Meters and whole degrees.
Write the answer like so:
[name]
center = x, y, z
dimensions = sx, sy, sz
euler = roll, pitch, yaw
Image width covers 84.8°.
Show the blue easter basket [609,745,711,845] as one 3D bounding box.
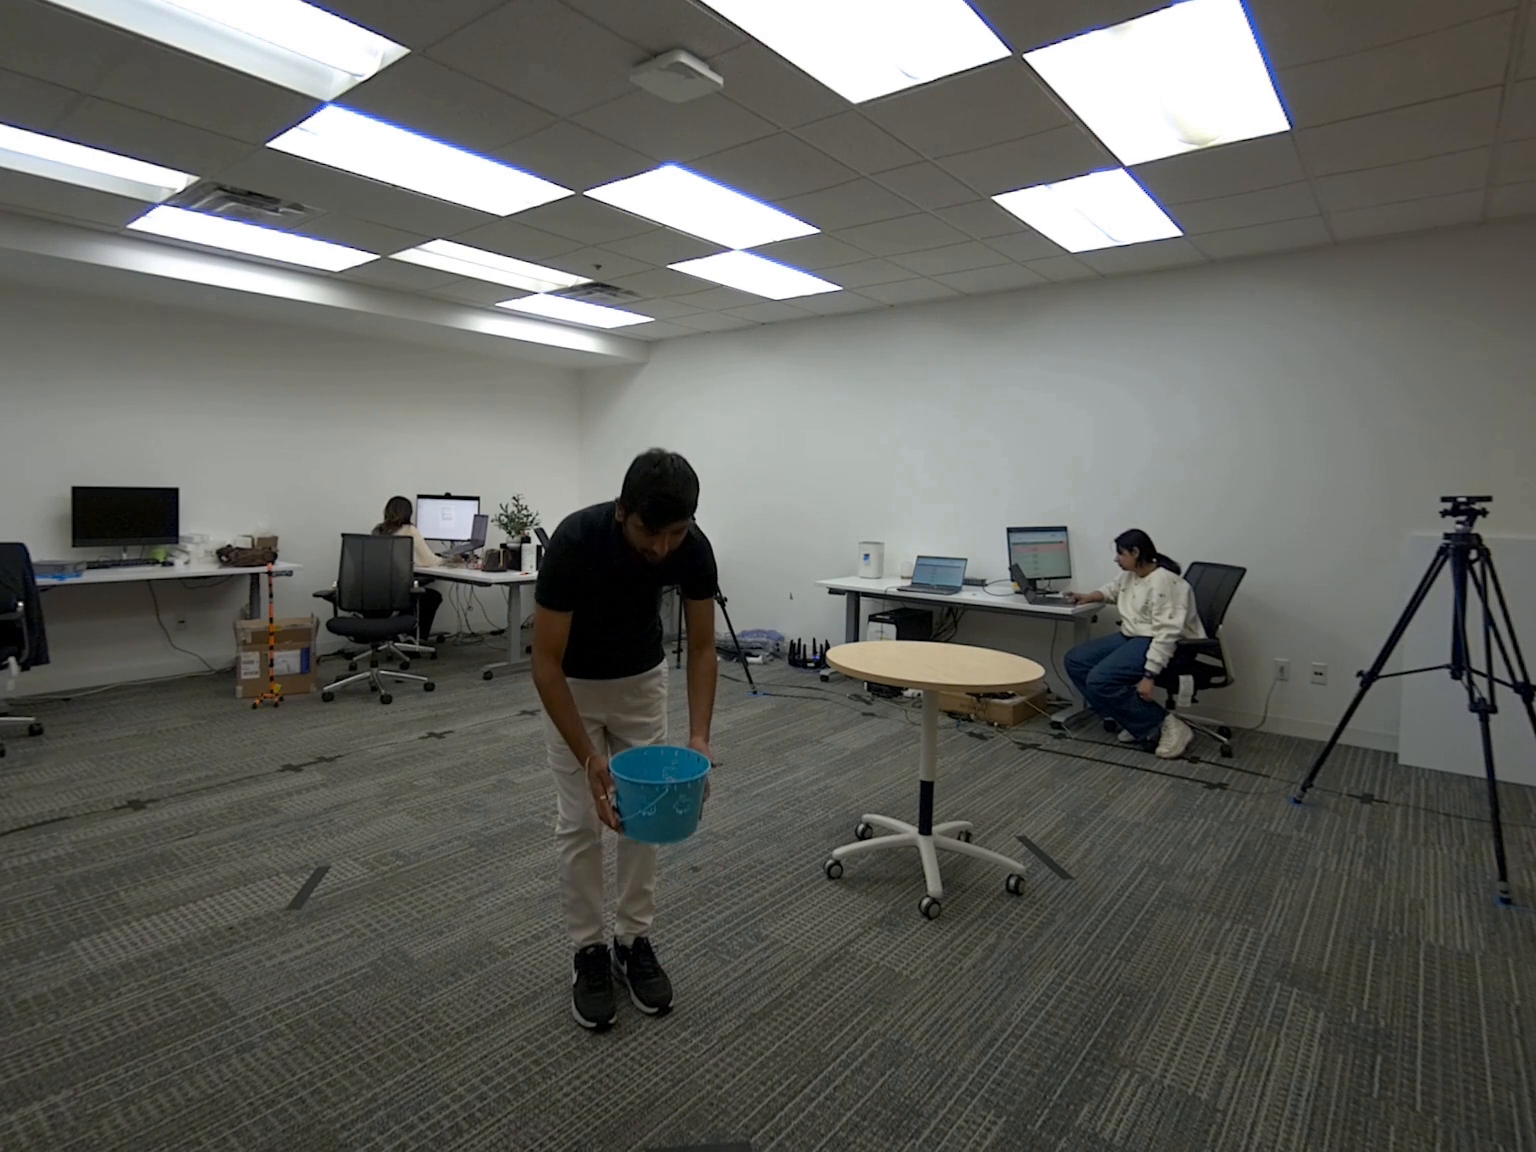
[blue easter basket]
center = -0.259, 0.504, 1.967
dimensions = 0.243, 0.155, 0.245
euler = 4, 7, -2
